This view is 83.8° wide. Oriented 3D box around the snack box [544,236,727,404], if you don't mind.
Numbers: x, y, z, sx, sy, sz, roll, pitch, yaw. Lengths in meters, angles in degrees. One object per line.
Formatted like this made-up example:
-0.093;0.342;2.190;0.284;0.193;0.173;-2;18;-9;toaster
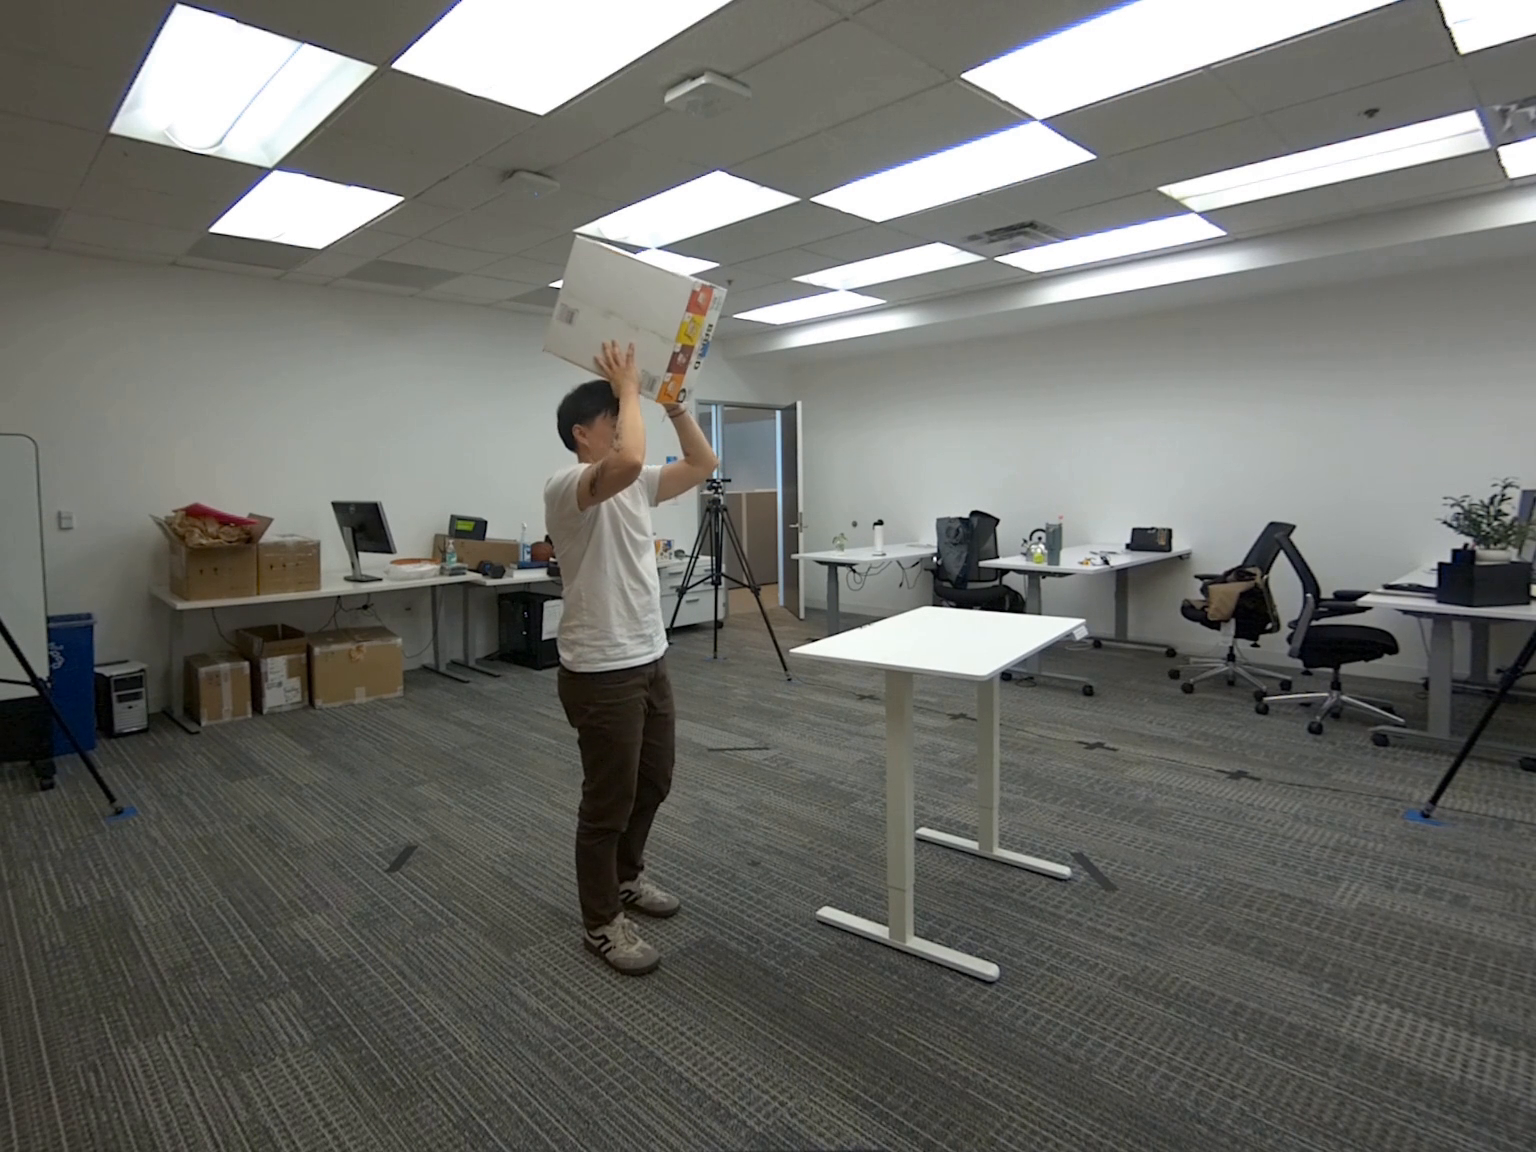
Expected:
-0.378;-0.723;2.428;0.414;0.338;0.203;27;17;18;snack box
